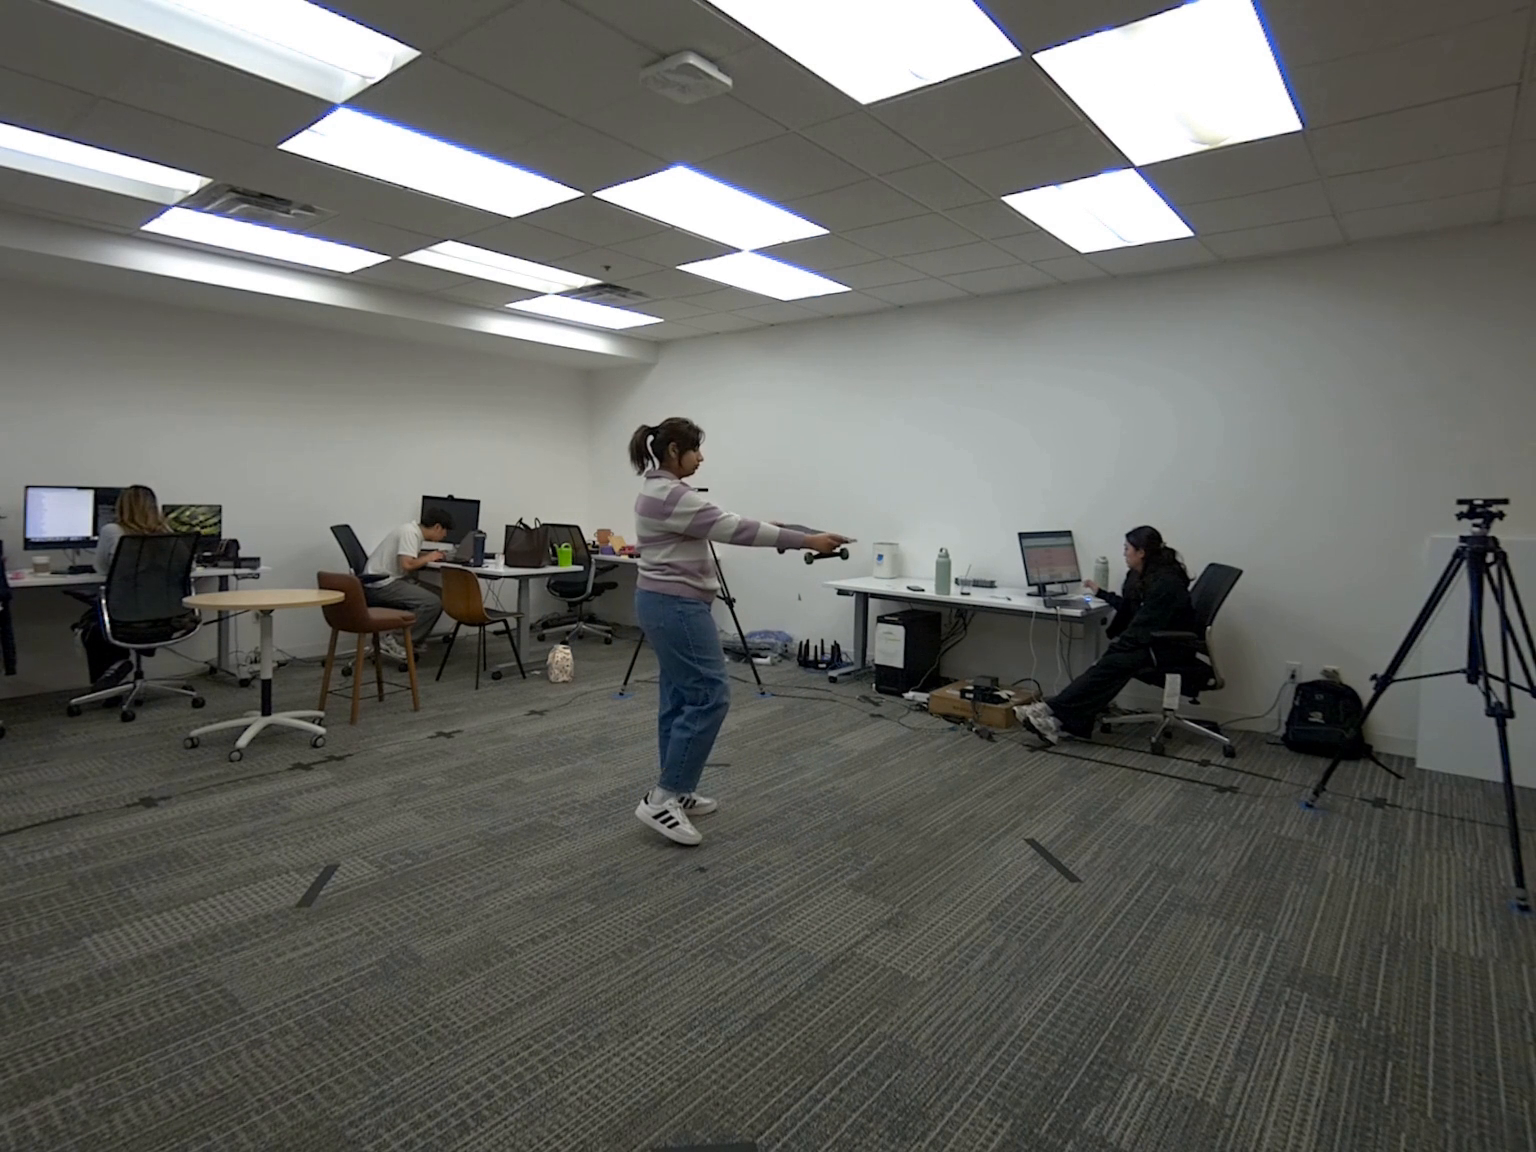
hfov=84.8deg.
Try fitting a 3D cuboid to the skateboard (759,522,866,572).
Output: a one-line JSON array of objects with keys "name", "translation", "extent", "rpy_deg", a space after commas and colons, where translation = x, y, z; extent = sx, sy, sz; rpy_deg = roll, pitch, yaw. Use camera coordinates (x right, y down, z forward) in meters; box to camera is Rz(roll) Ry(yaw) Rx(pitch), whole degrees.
[{"name": "skateboard", "translation": [0.164, -0.140, 3.664], "extent": [0.191, 0.109, 0.803], "rpy_deg": [-8, 10, -16]}]
